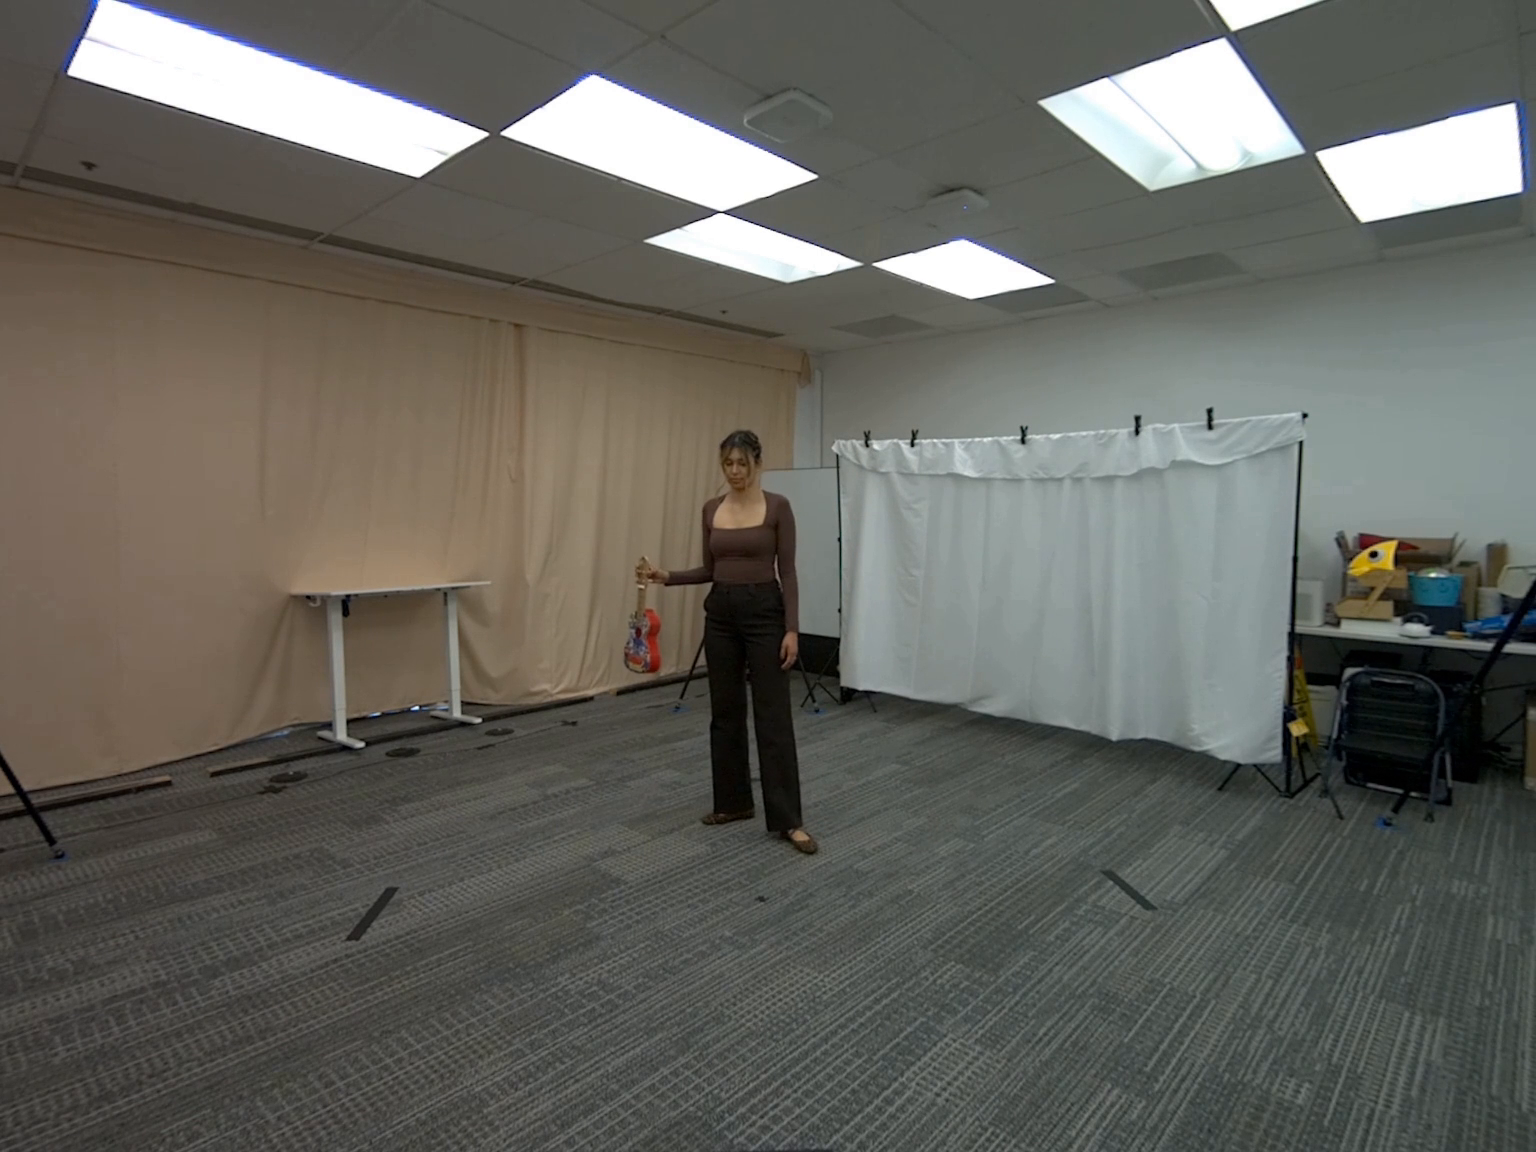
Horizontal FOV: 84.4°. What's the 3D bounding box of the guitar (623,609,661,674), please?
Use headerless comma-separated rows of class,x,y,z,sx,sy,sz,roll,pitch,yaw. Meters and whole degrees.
guitar,-0.512,0.182,3.624,0.068,0.495,0.200,0,14,-44
